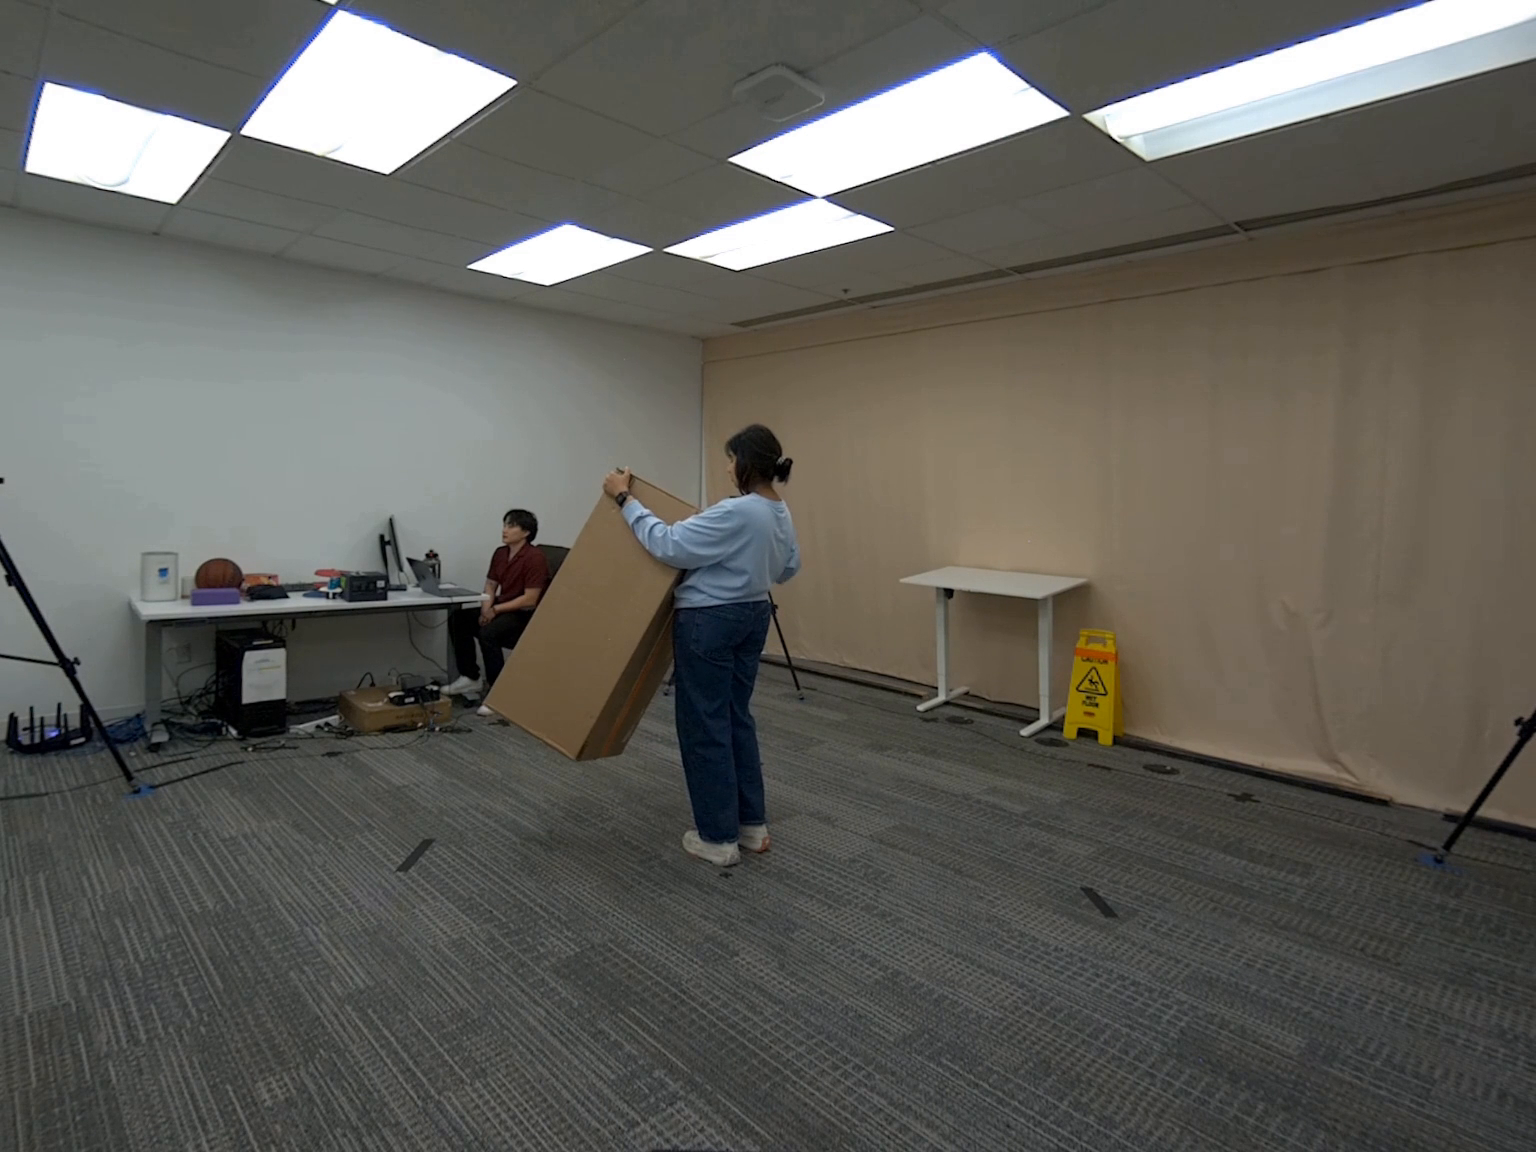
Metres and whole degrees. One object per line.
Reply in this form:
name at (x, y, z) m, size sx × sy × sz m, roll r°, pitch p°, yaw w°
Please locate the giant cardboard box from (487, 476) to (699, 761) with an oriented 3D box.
giant cardboard box at (-0.605, 0.168, 3.381) m, size 0.454 × 1.028 × 0.574 m, roll 28°, pitch -5°, yaw 14°
